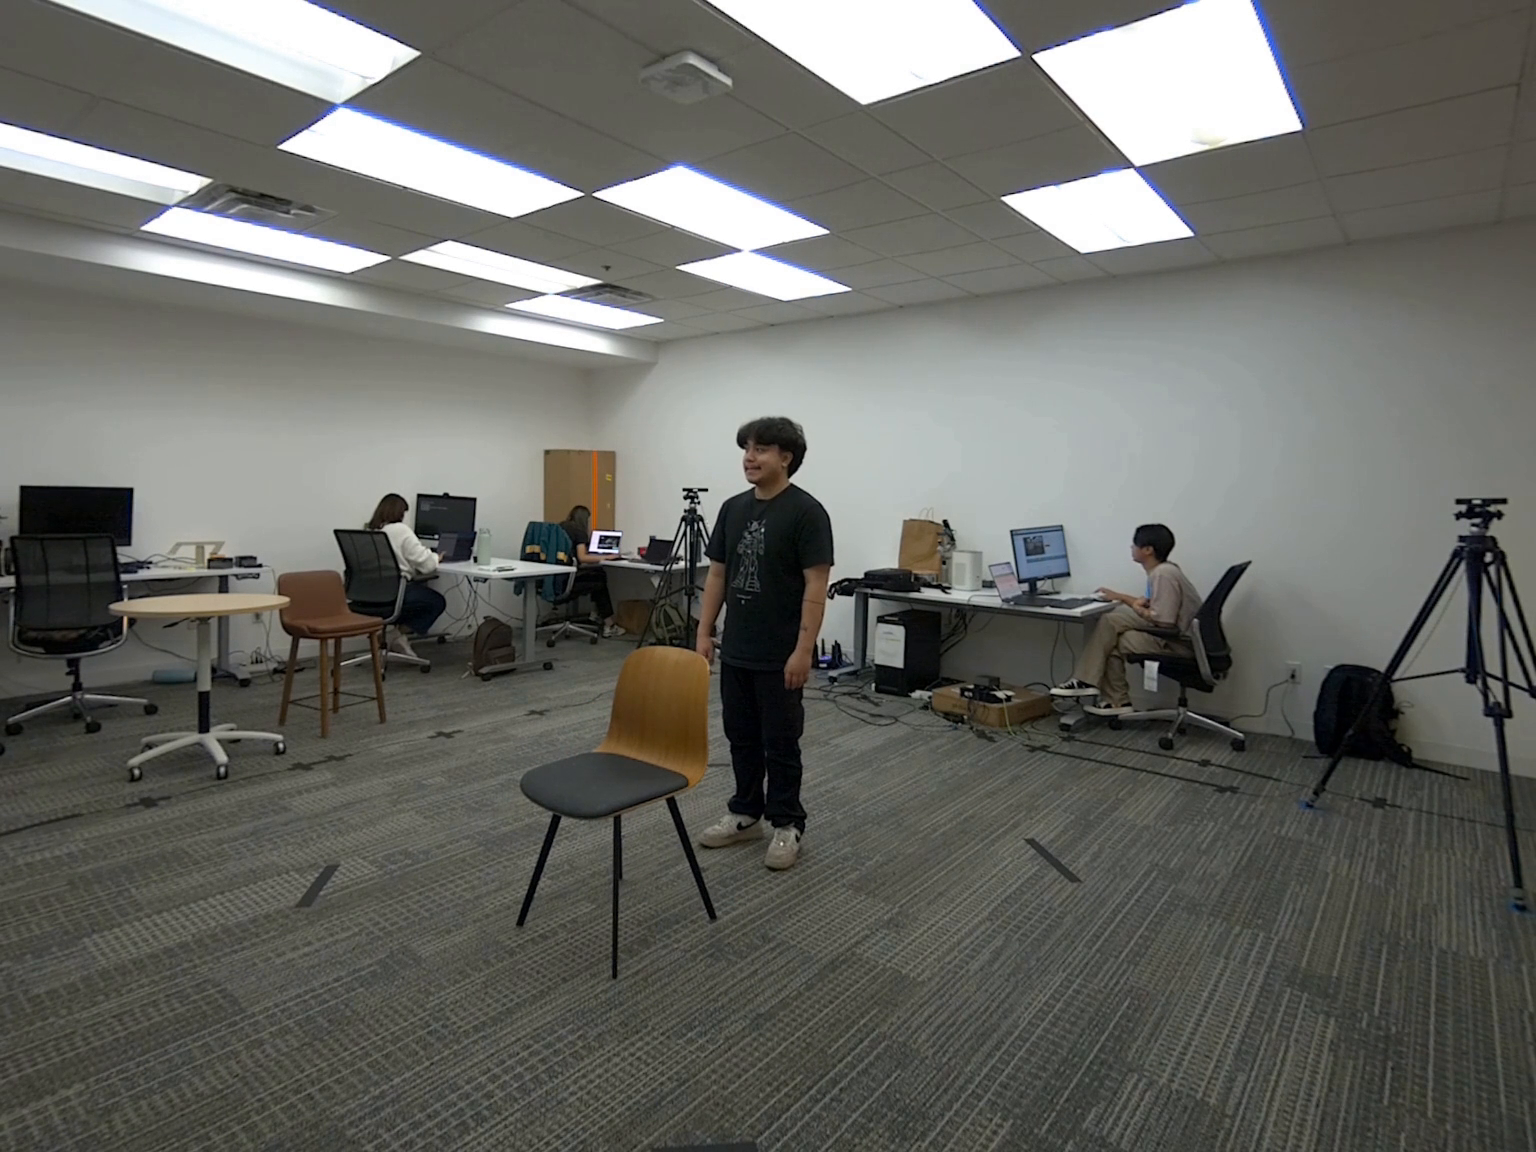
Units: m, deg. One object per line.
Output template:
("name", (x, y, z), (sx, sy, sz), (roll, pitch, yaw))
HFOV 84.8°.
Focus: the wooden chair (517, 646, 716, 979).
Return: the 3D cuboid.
("wooden chair", (-0.487, 0.679, 2.679), (0.494, 0.878, 0.506), (3, 0, 38))
